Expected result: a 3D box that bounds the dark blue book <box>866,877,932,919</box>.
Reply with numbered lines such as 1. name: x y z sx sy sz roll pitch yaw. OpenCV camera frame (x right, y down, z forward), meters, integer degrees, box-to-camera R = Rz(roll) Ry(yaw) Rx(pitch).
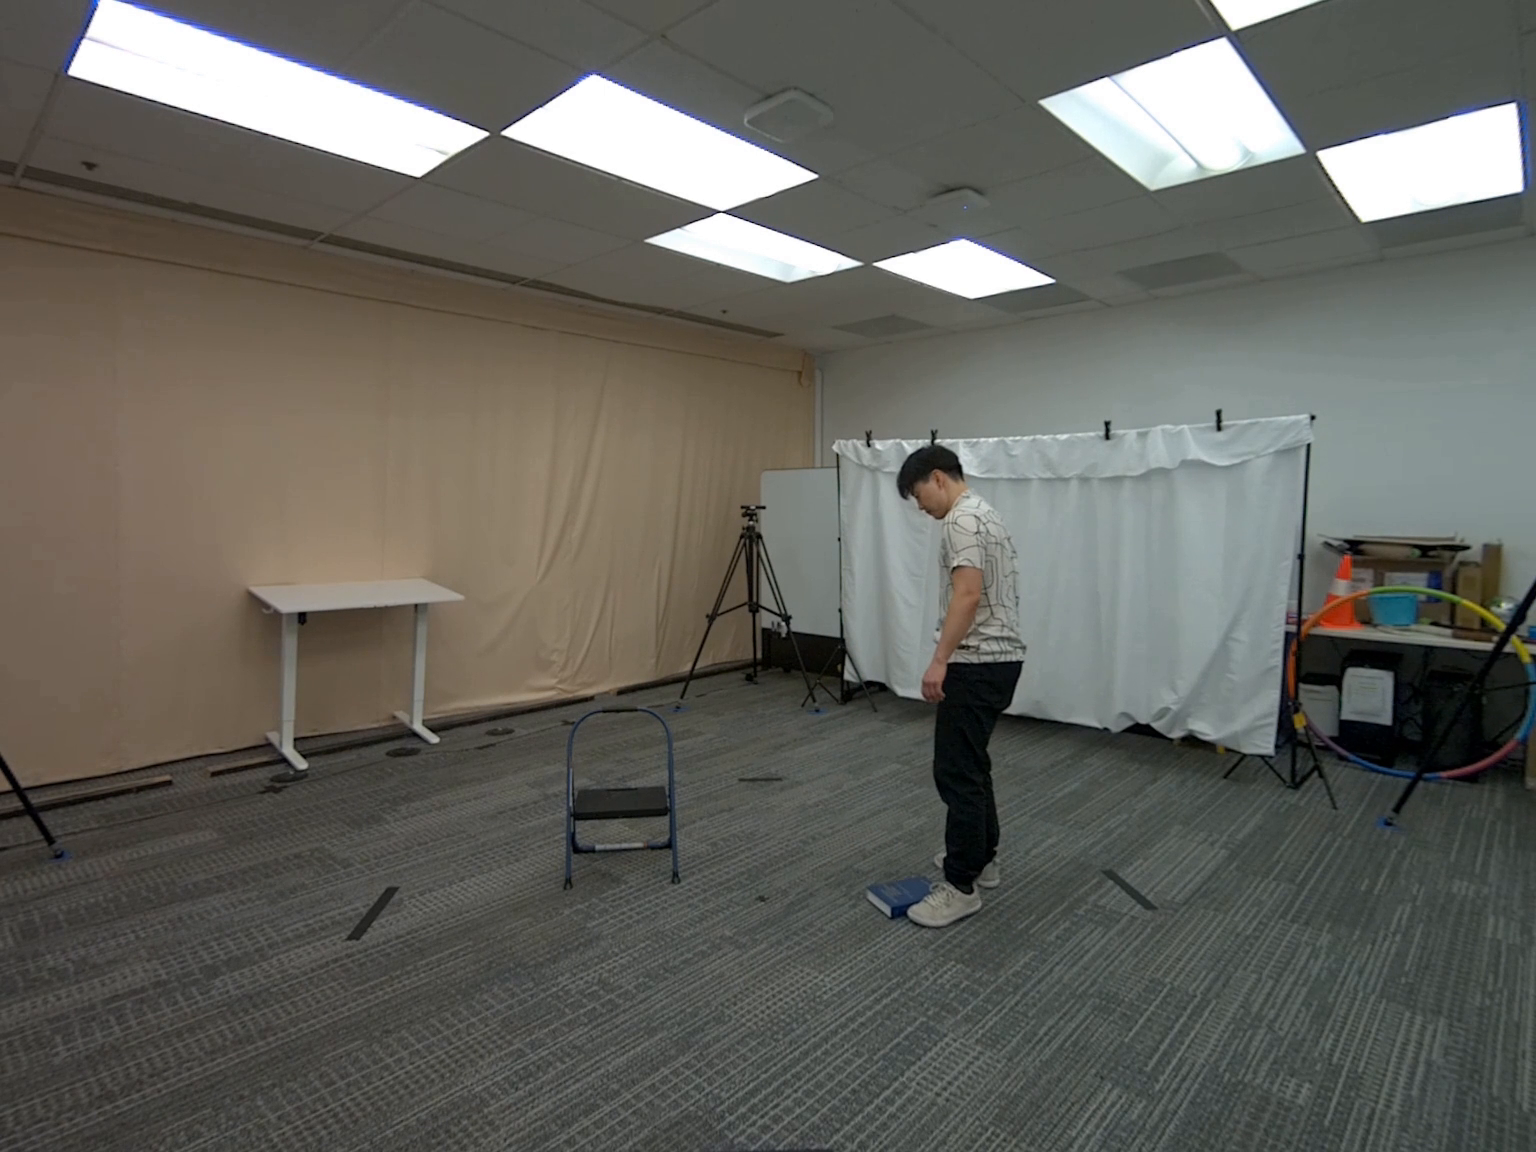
1. dark blue book: 0.488 1.126 2.943 0.240 0.045 0.167 -2 5 -22
